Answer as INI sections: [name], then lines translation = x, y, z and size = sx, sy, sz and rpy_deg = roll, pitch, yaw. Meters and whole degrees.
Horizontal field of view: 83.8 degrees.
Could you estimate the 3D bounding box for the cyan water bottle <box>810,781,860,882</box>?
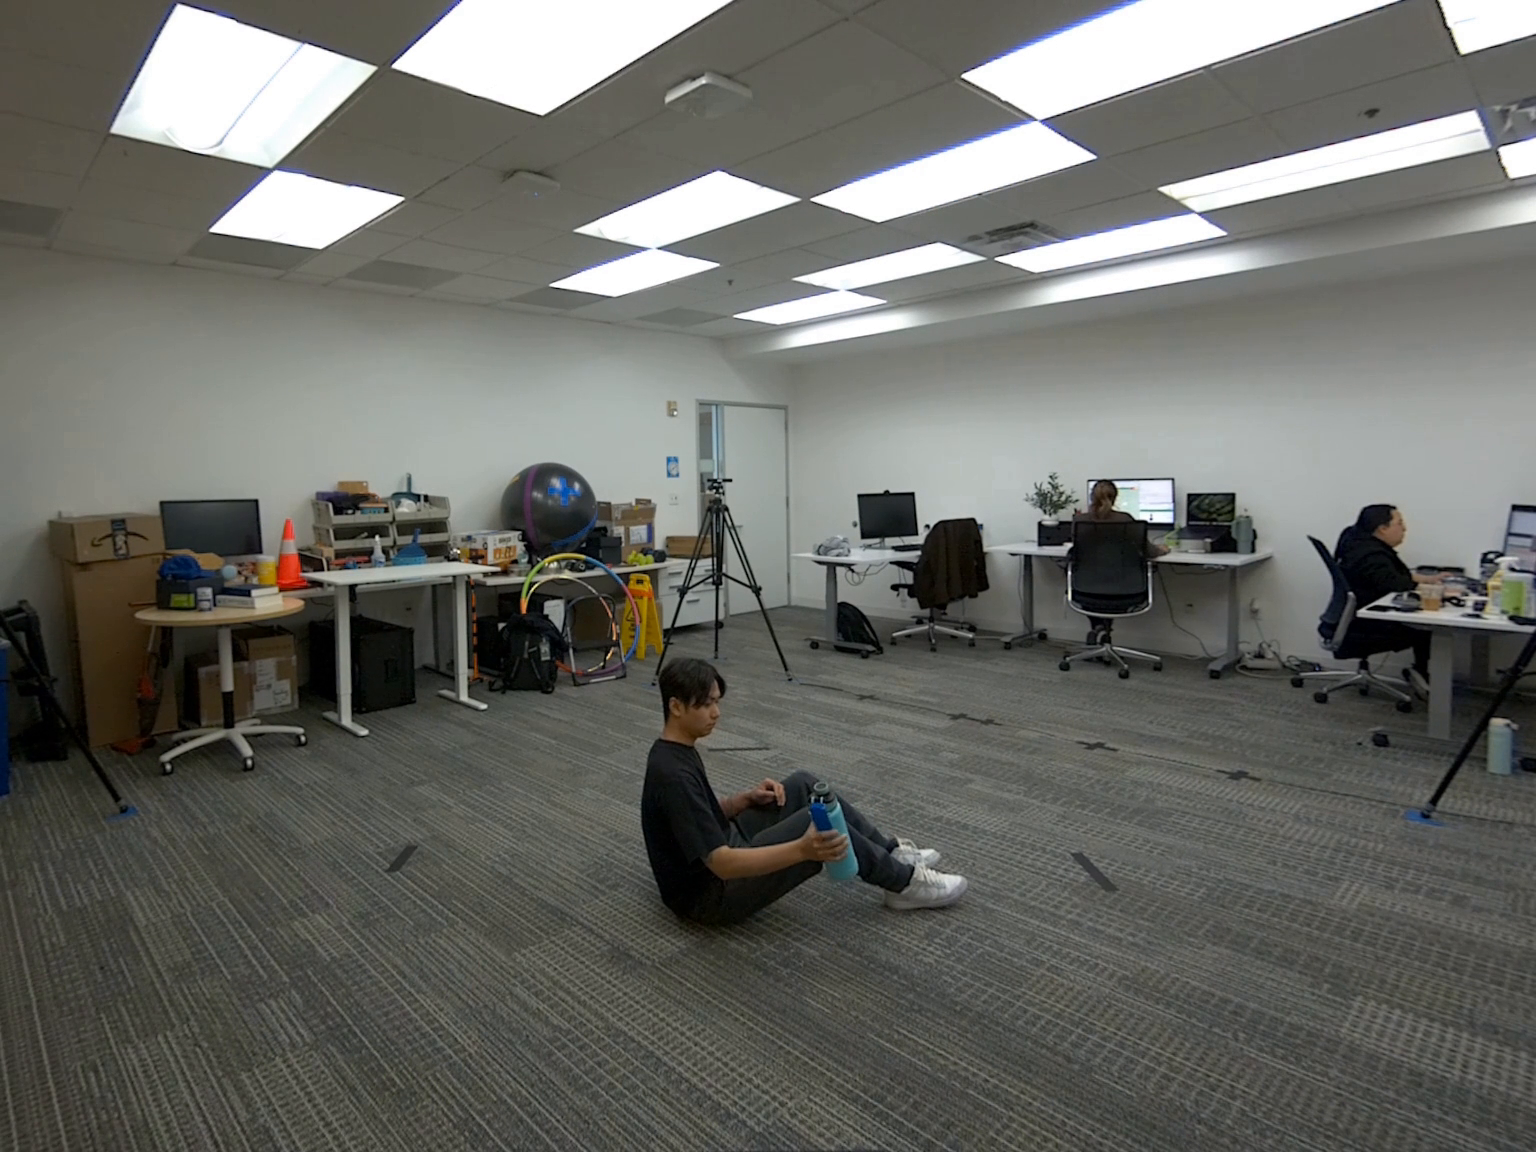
[cyan water bottle]
translation = 0.186, 0.723, 2.411
size = 0.092, 0.277, 0.094
rpy_deg = -13, 20, 3
